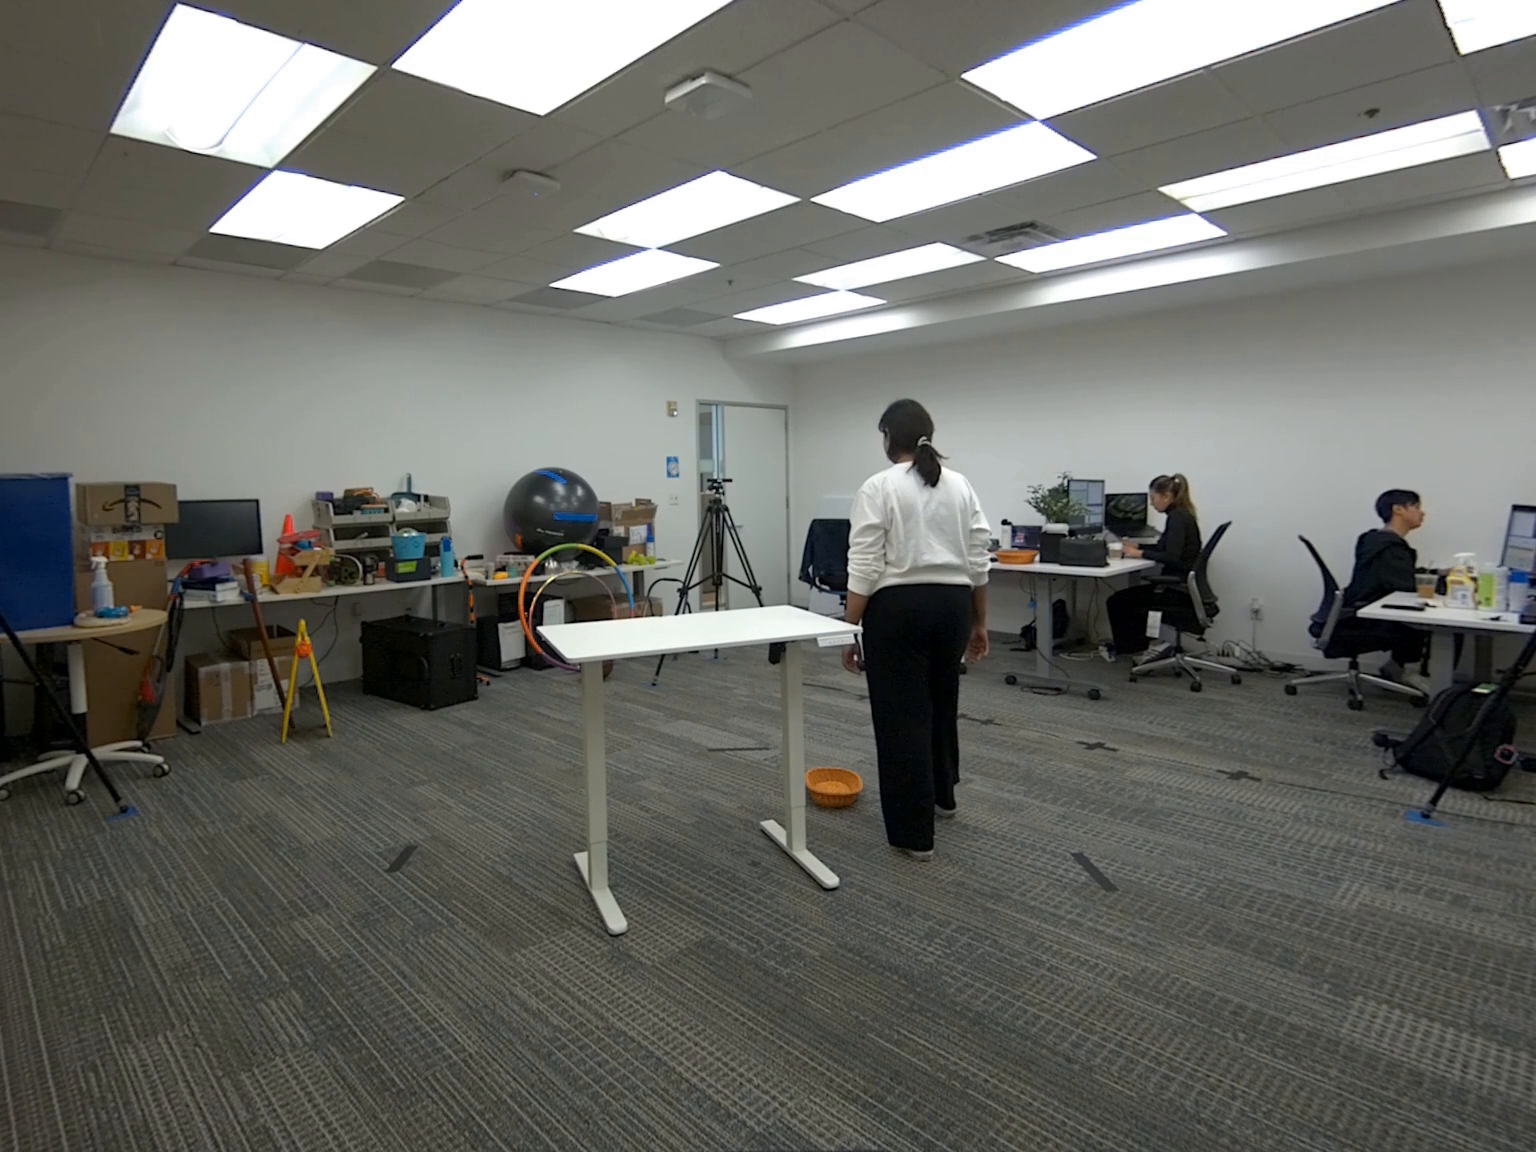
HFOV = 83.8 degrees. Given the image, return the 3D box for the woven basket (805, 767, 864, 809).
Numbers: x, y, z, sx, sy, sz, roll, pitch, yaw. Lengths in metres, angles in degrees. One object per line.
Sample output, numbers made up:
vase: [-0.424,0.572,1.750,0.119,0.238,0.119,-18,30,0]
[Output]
woven basket: [0.284,0.928,3.763,0.254,0.073,0.350,1,6,4]
